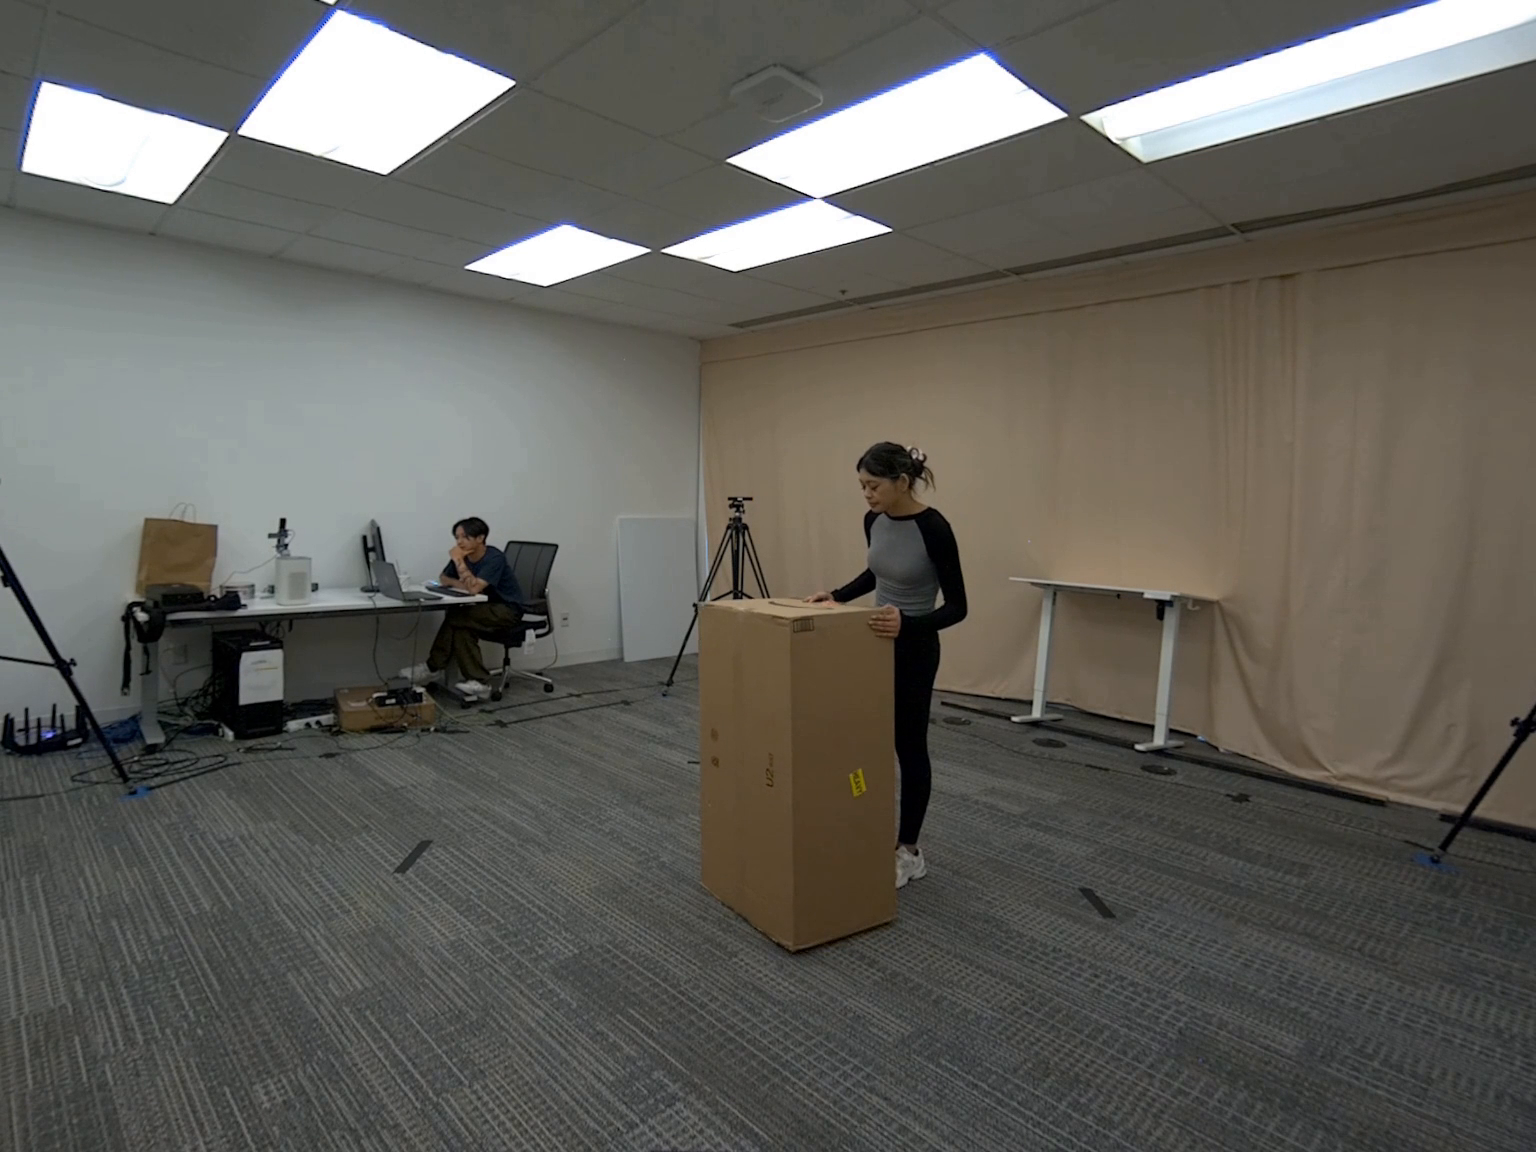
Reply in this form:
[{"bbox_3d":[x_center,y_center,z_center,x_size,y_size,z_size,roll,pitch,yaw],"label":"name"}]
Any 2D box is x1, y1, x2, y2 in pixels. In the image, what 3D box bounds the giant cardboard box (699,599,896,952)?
[{"bbox_3d":[0.083,0.618,2.891,0.437,1.026,0.597,-2,2,-34],"label":"giant cardboard box"}]
